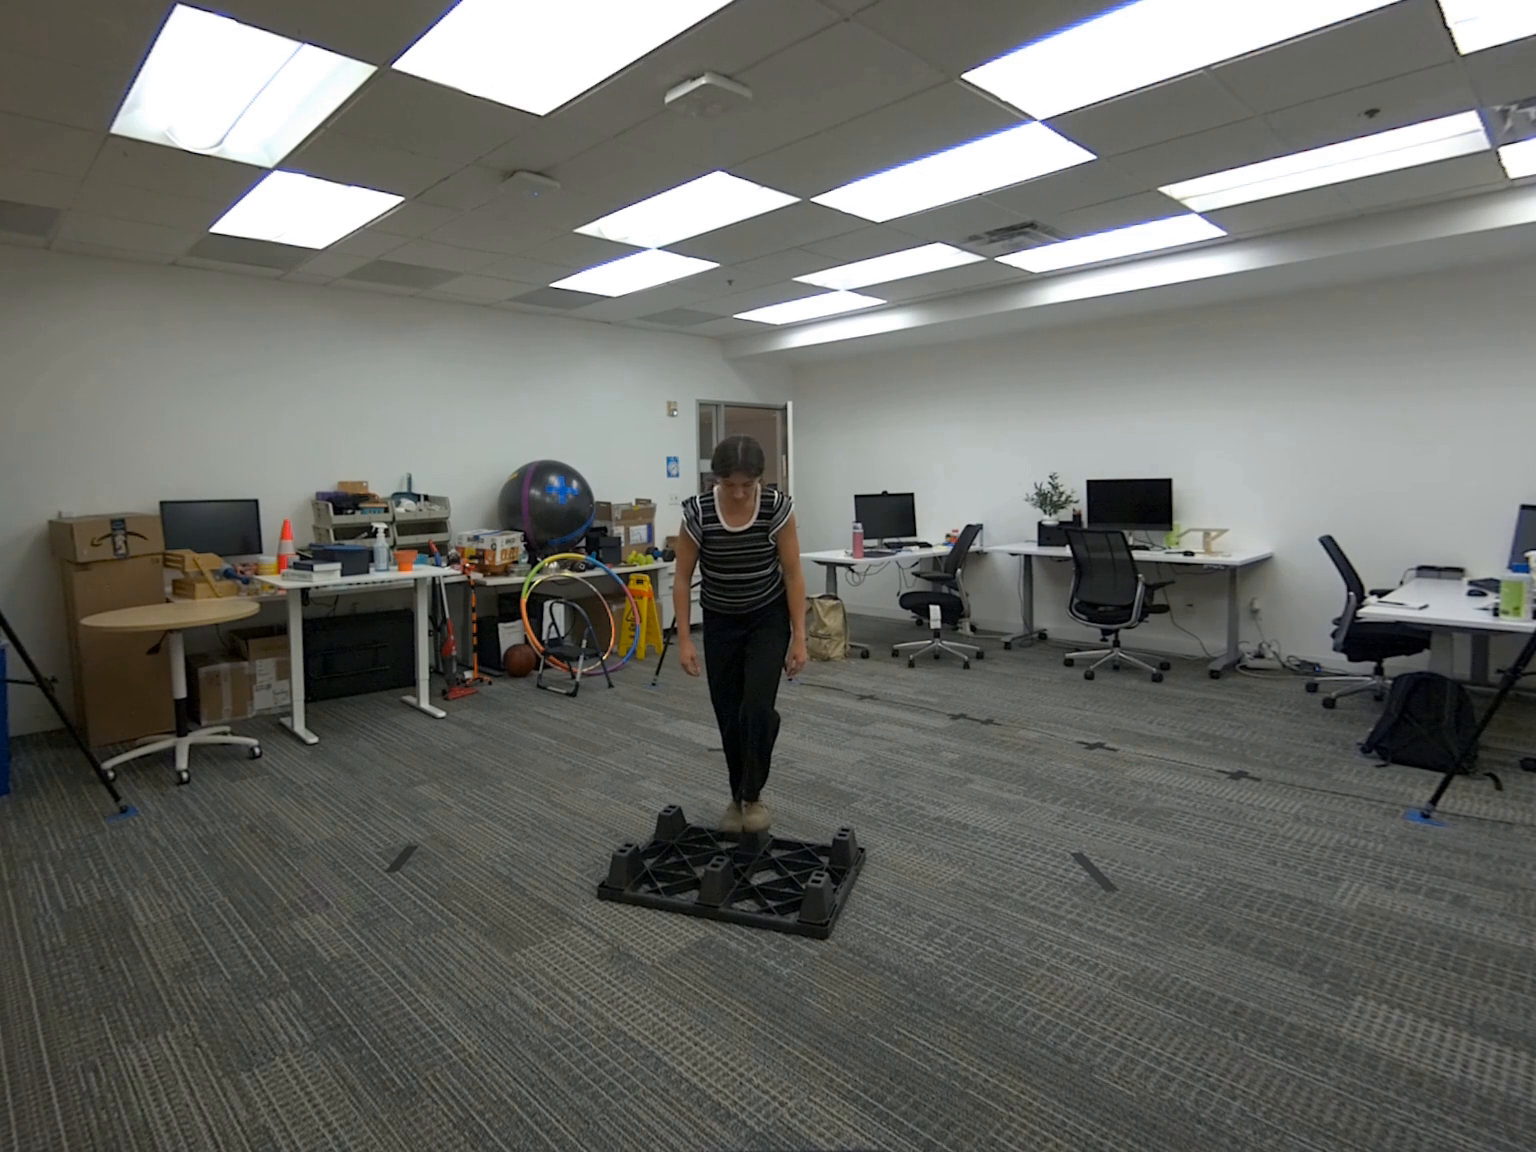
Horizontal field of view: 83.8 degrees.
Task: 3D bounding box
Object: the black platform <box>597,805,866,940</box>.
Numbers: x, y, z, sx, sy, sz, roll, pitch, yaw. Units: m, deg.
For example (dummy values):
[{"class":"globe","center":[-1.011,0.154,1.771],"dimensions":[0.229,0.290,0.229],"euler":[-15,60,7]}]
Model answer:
[{"class":"black platform","center":[-0.104,0.993,2.995],"dimensions":[0.821,0.142,0.596],"euler":[2,7,20]}]
